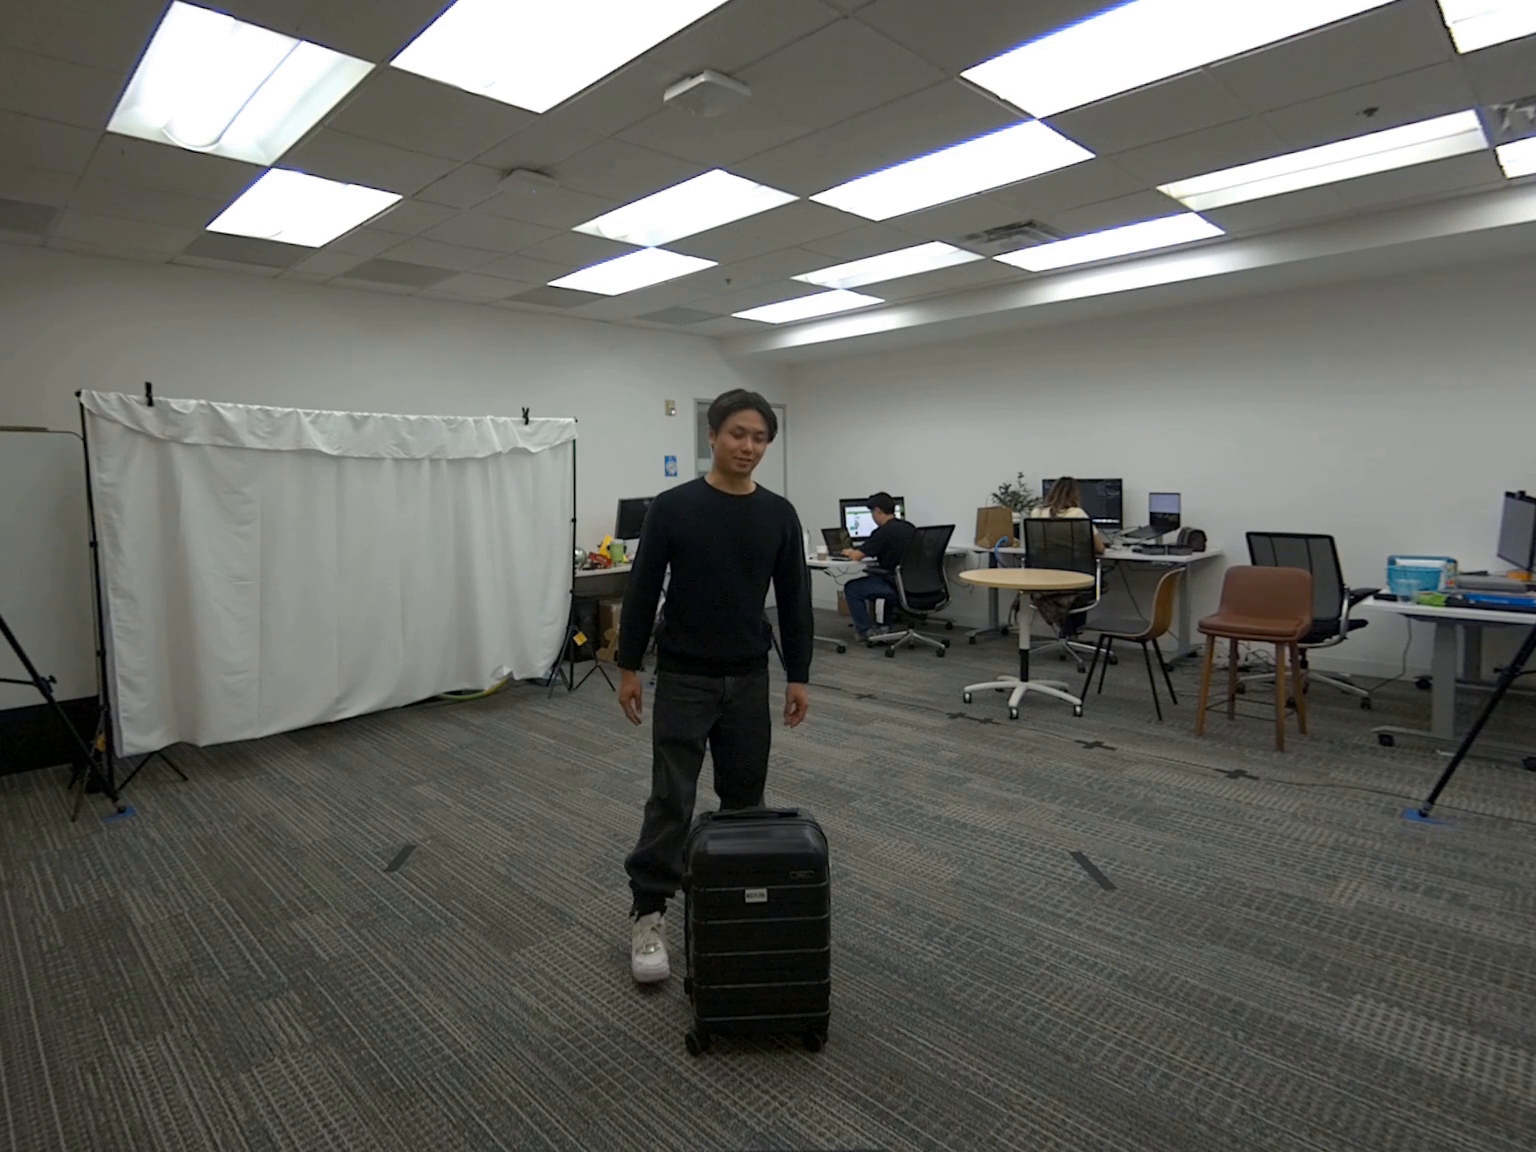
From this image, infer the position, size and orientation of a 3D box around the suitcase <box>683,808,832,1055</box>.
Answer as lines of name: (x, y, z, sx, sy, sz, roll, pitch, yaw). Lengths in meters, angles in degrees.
suitcase: (-0.018, 0.877, 2.169, 0.375, 0.547, 0.250, -1, 5, -2)
